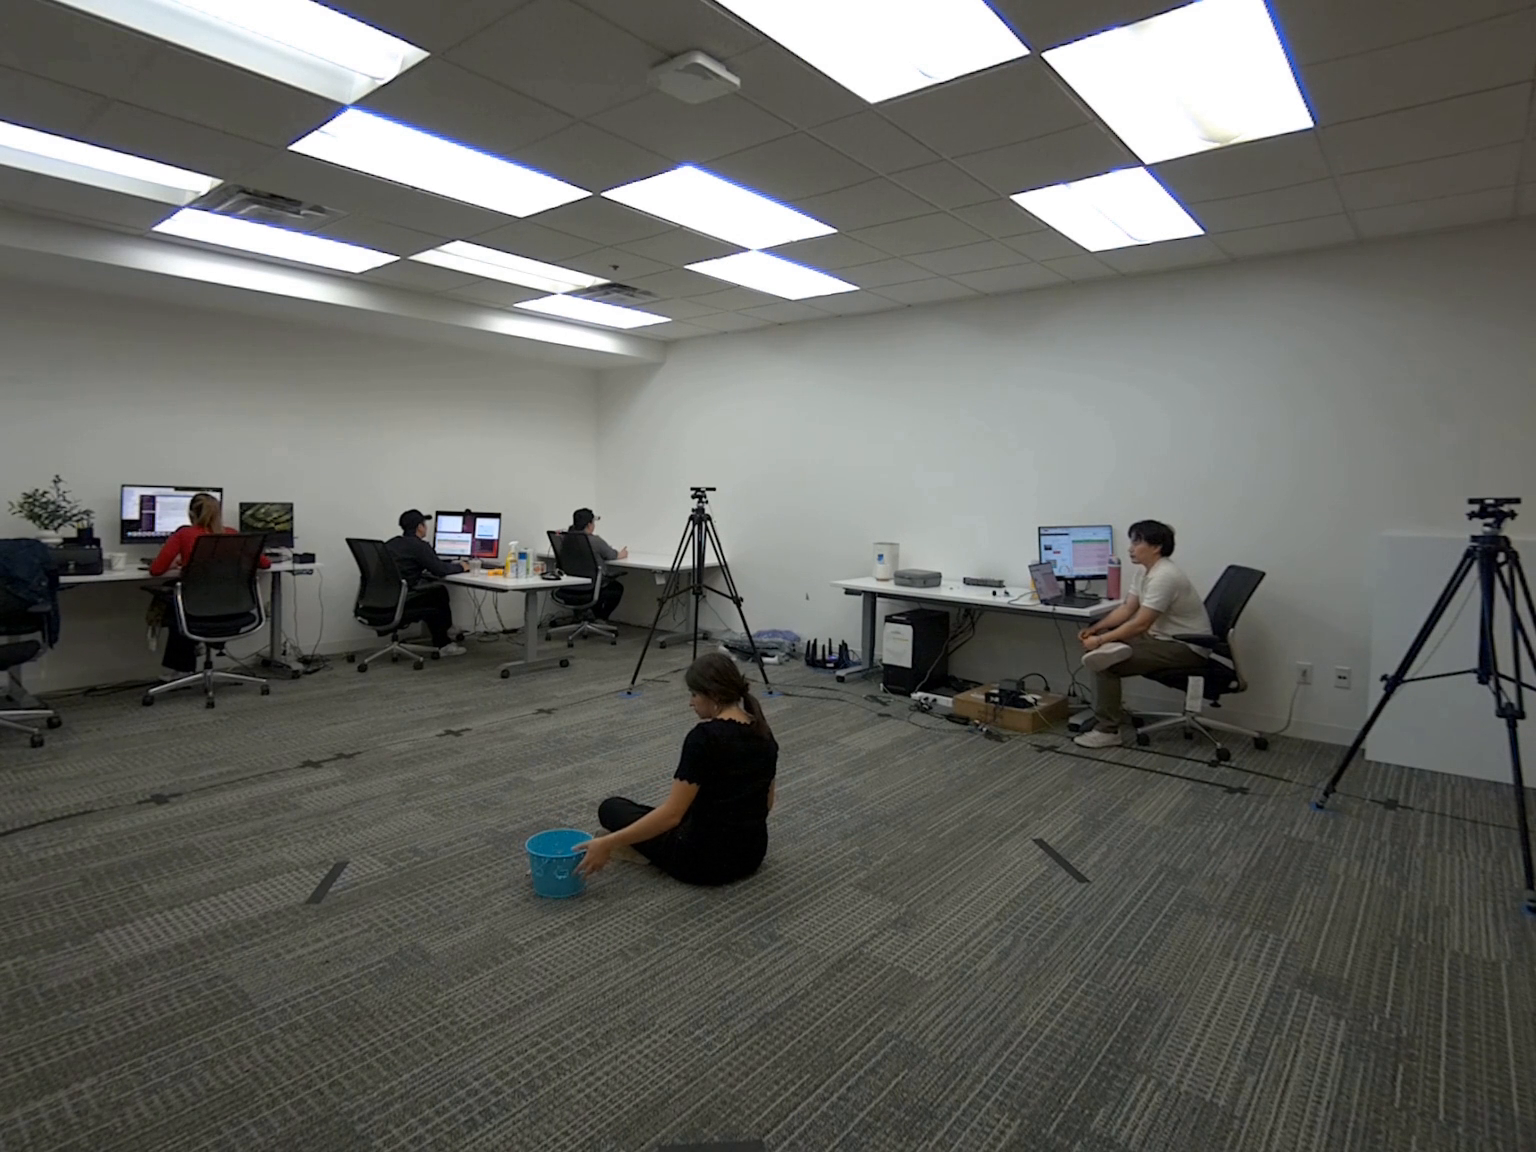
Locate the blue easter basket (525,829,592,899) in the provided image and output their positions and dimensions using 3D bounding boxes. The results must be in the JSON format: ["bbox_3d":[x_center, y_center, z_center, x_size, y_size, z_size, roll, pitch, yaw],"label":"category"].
[{"bbox_3d":[-0.738,0.992,2.961,0.243,0.155,0.245,1,6,-2],"label":"blue easter basket"}]
